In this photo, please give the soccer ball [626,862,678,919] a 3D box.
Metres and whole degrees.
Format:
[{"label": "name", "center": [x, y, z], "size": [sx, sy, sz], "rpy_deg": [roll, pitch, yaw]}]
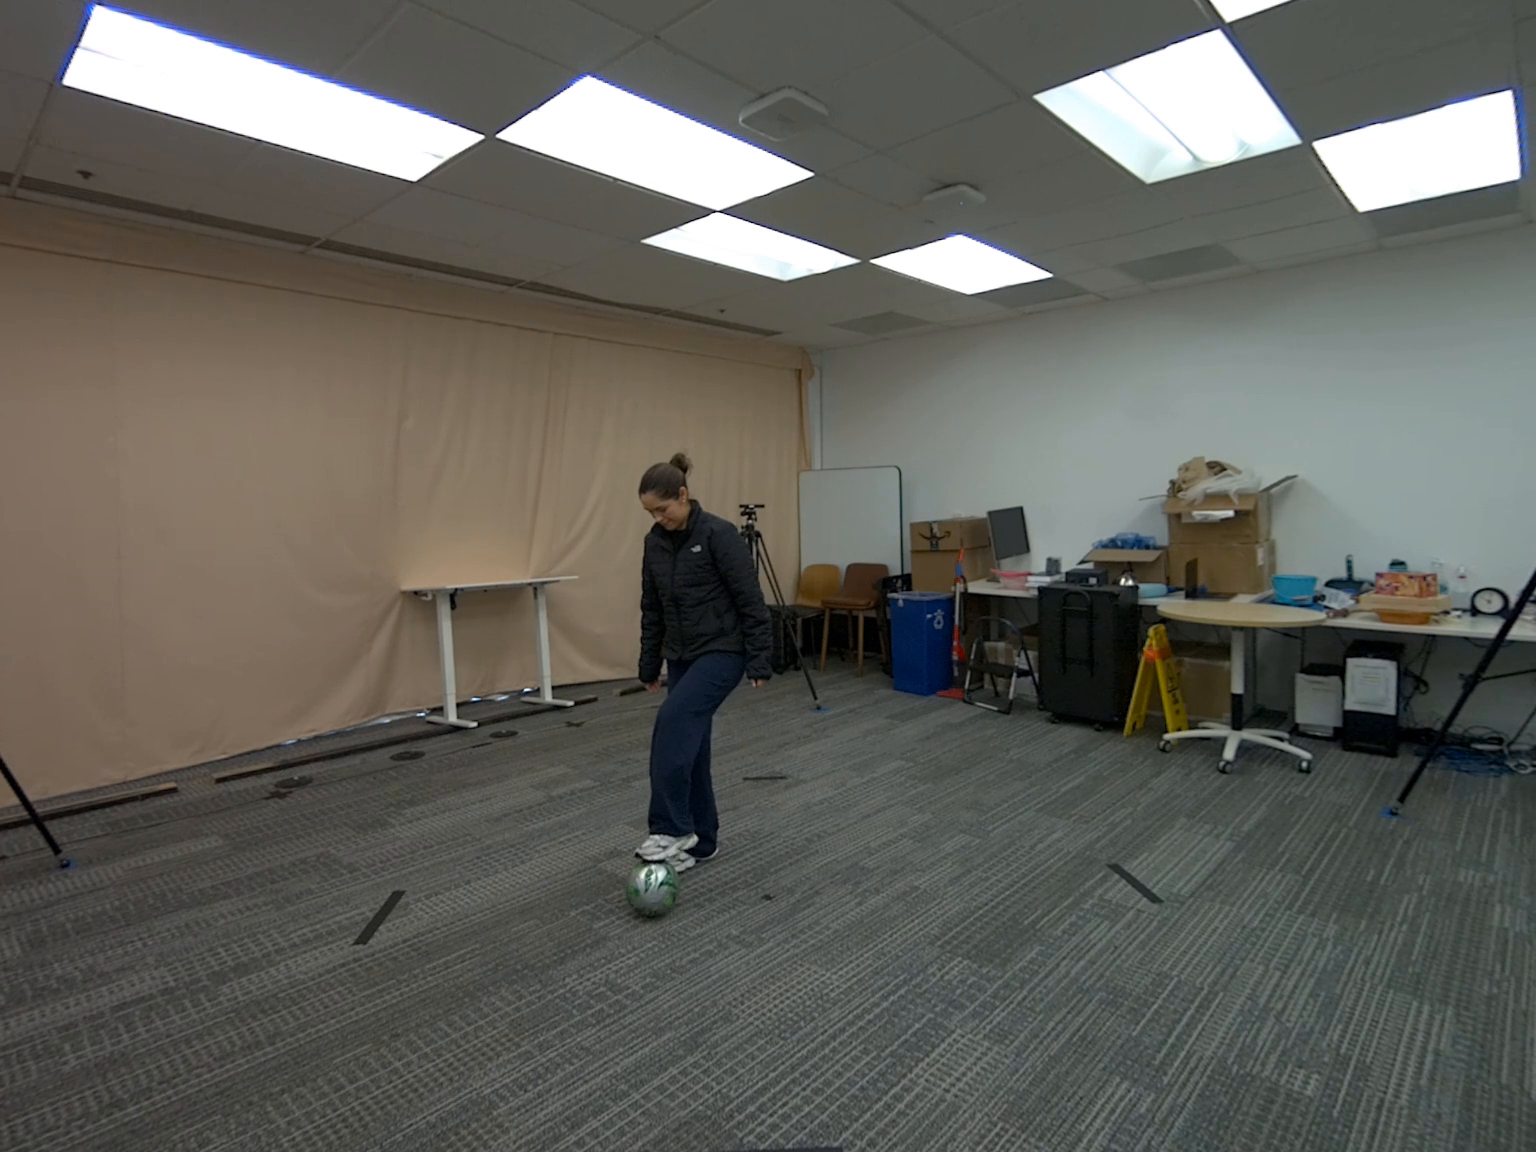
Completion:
[{"label": "soccer ball", "center": [-0.392, 1.057, 2.883], "size": [0.187, 0.187, 0.188], "rpy_deg": [-1, 4, -2]}]
